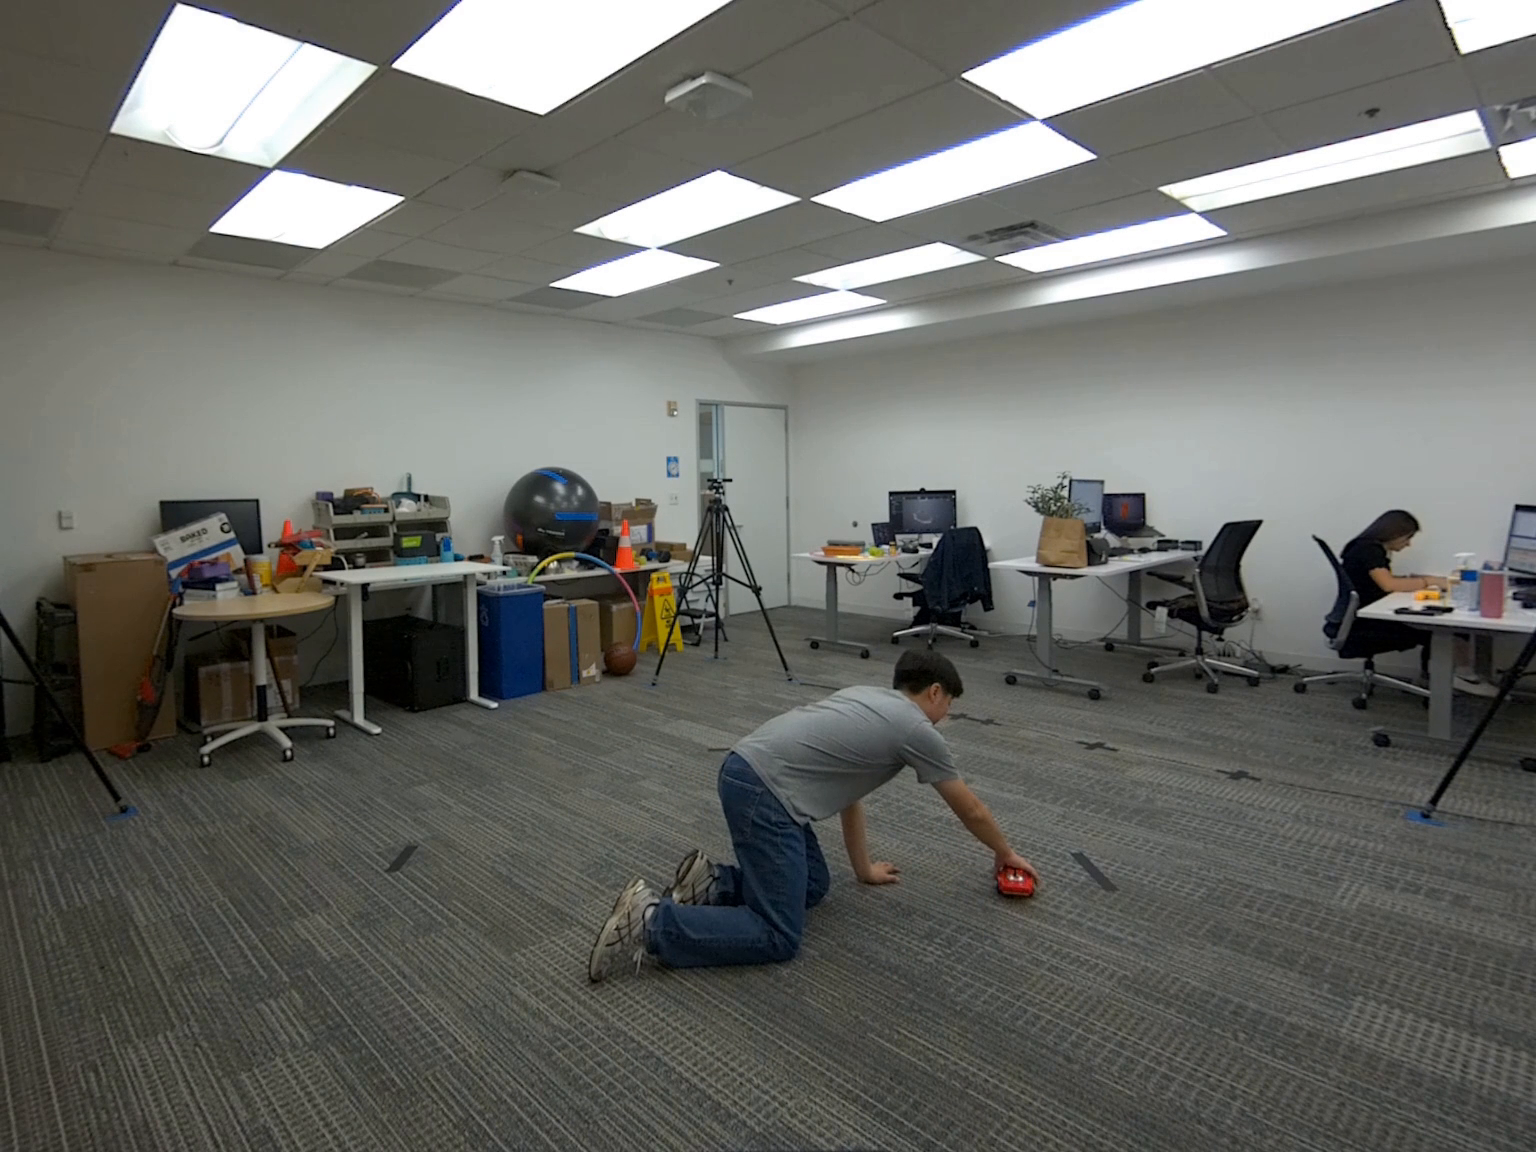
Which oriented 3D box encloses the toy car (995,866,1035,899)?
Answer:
[{"bbox_3d":[0.847,1.025,2.892,0.132,0.083,0.250,2,-2,12],"label":"toy car"}]
